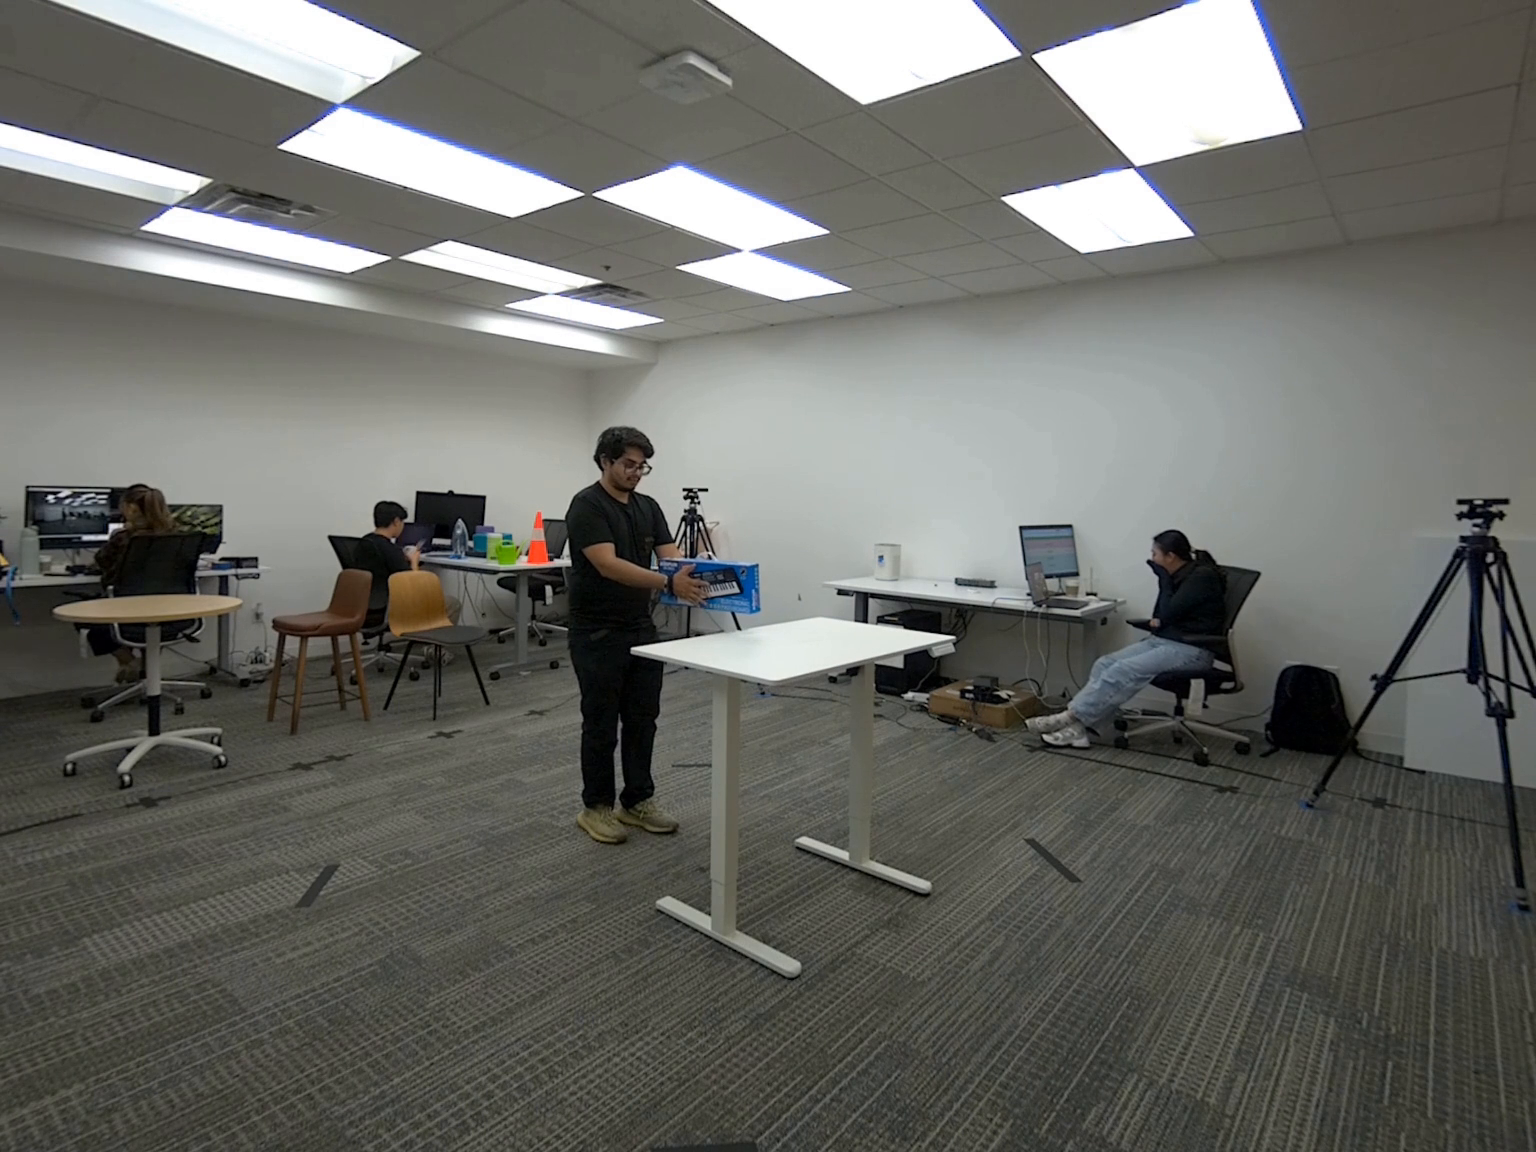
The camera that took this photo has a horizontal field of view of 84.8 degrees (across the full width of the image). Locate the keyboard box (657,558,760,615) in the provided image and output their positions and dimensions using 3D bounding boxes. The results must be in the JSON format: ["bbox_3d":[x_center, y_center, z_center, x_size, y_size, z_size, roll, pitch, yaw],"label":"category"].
[{"bbox_3d":[-0.229,0.031,3.105,0.451,0.175,0.057,4,8,38],"label":"keyboard box"}]
